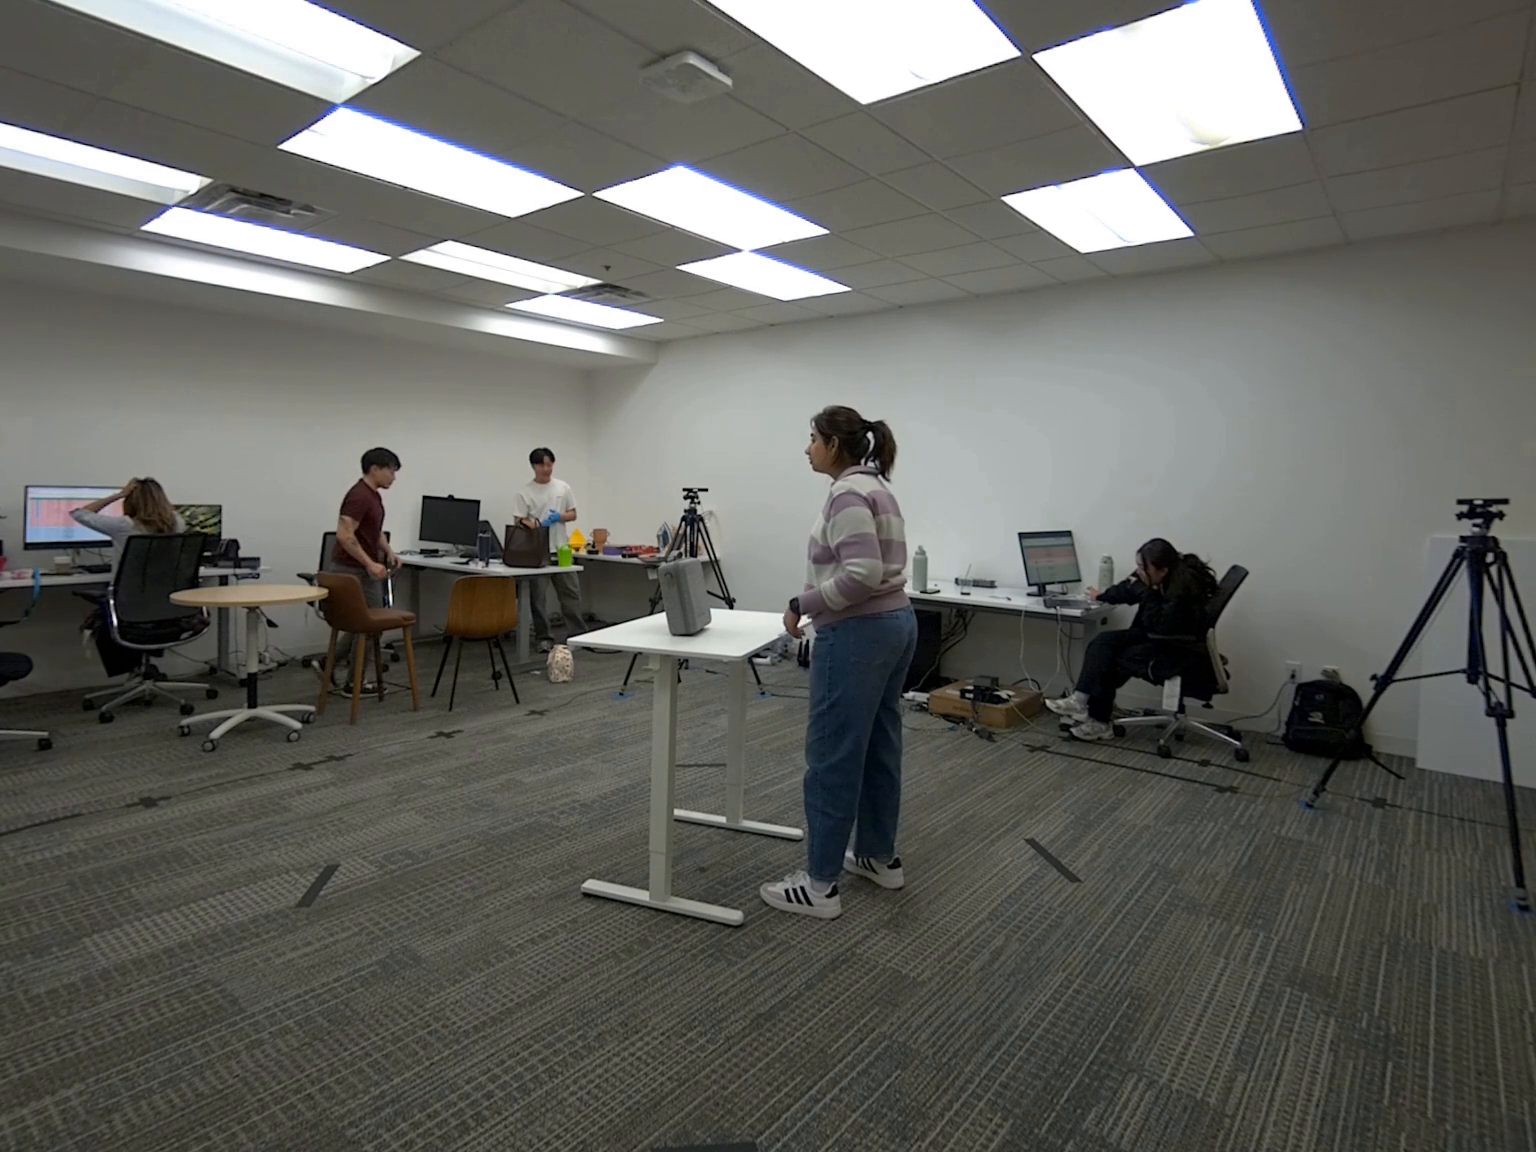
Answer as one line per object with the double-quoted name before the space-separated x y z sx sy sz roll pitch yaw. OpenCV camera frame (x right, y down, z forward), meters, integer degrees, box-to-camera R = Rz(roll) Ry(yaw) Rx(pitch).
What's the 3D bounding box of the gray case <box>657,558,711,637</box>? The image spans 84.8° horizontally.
"gray case" -0.301 0.065 3.003 0.105 0.261 0.254 -8 1 10
